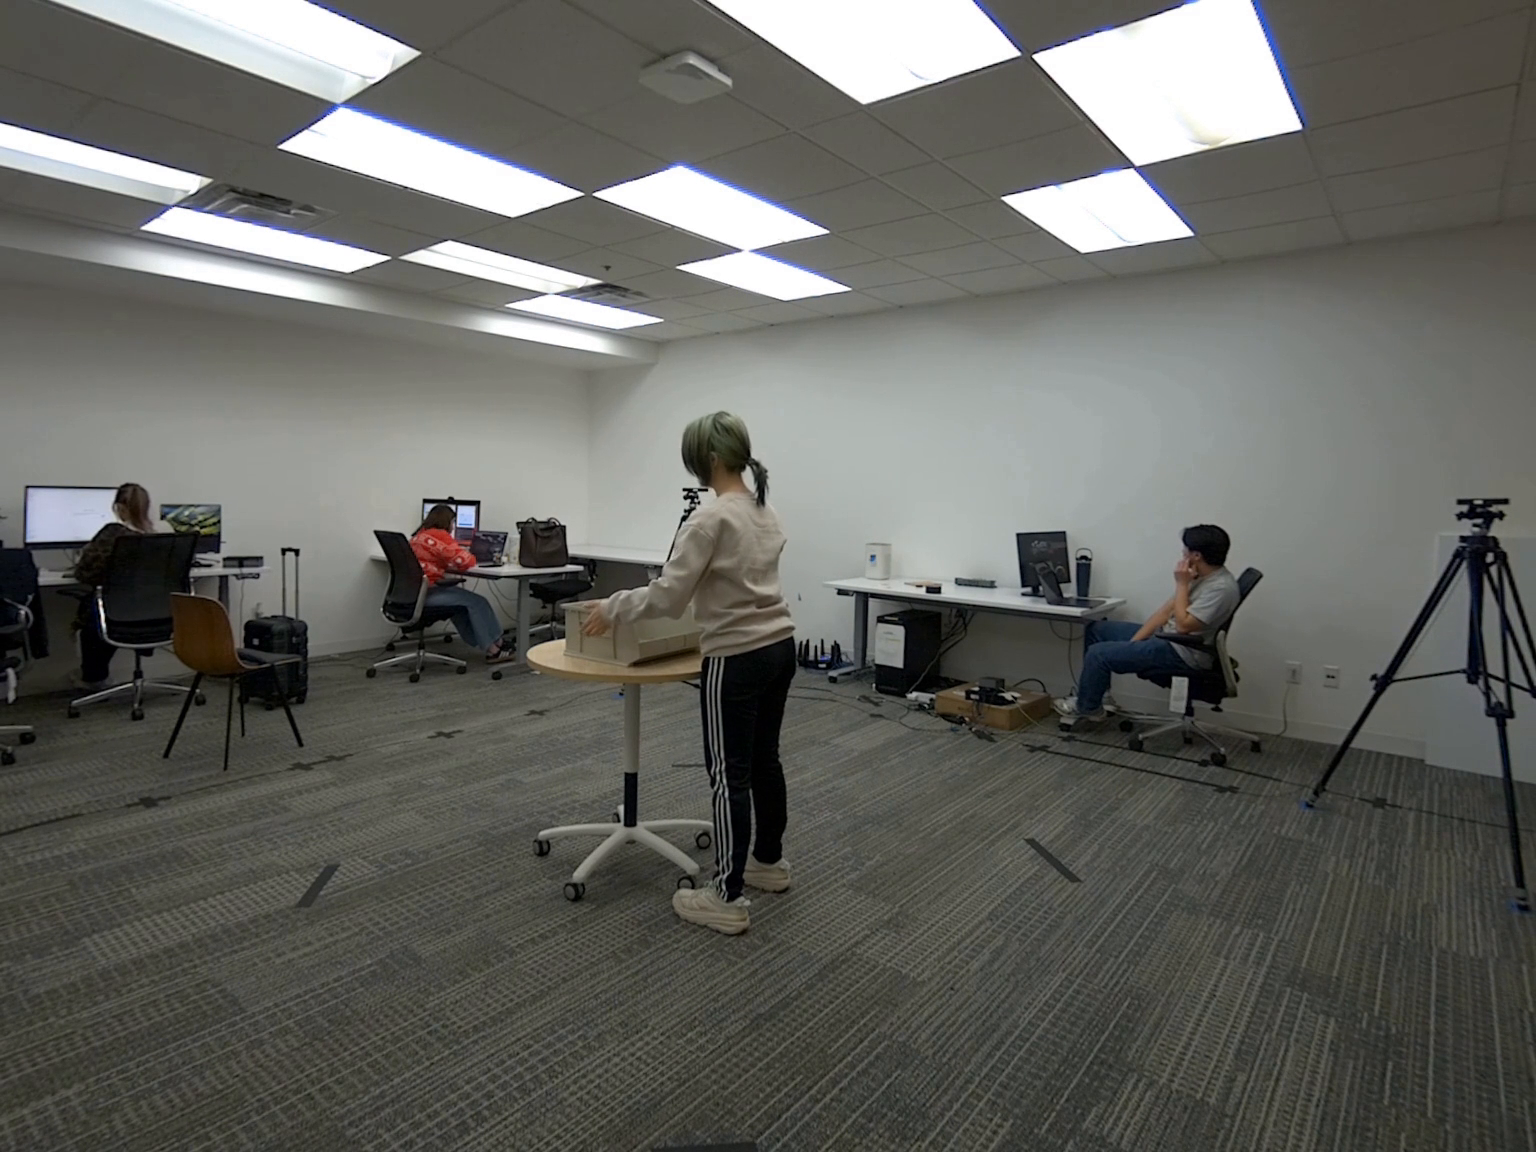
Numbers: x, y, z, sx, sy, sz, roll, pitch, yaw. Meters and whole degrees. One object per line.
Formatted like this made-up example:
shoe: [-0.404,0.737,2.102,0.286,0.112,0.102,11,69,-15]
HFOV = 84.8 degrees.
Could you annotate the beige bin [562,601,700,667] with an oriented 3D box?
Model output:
beige bin: [-0.482,0.193,3.100,0.389,0.188,0.411,4,6,35]
